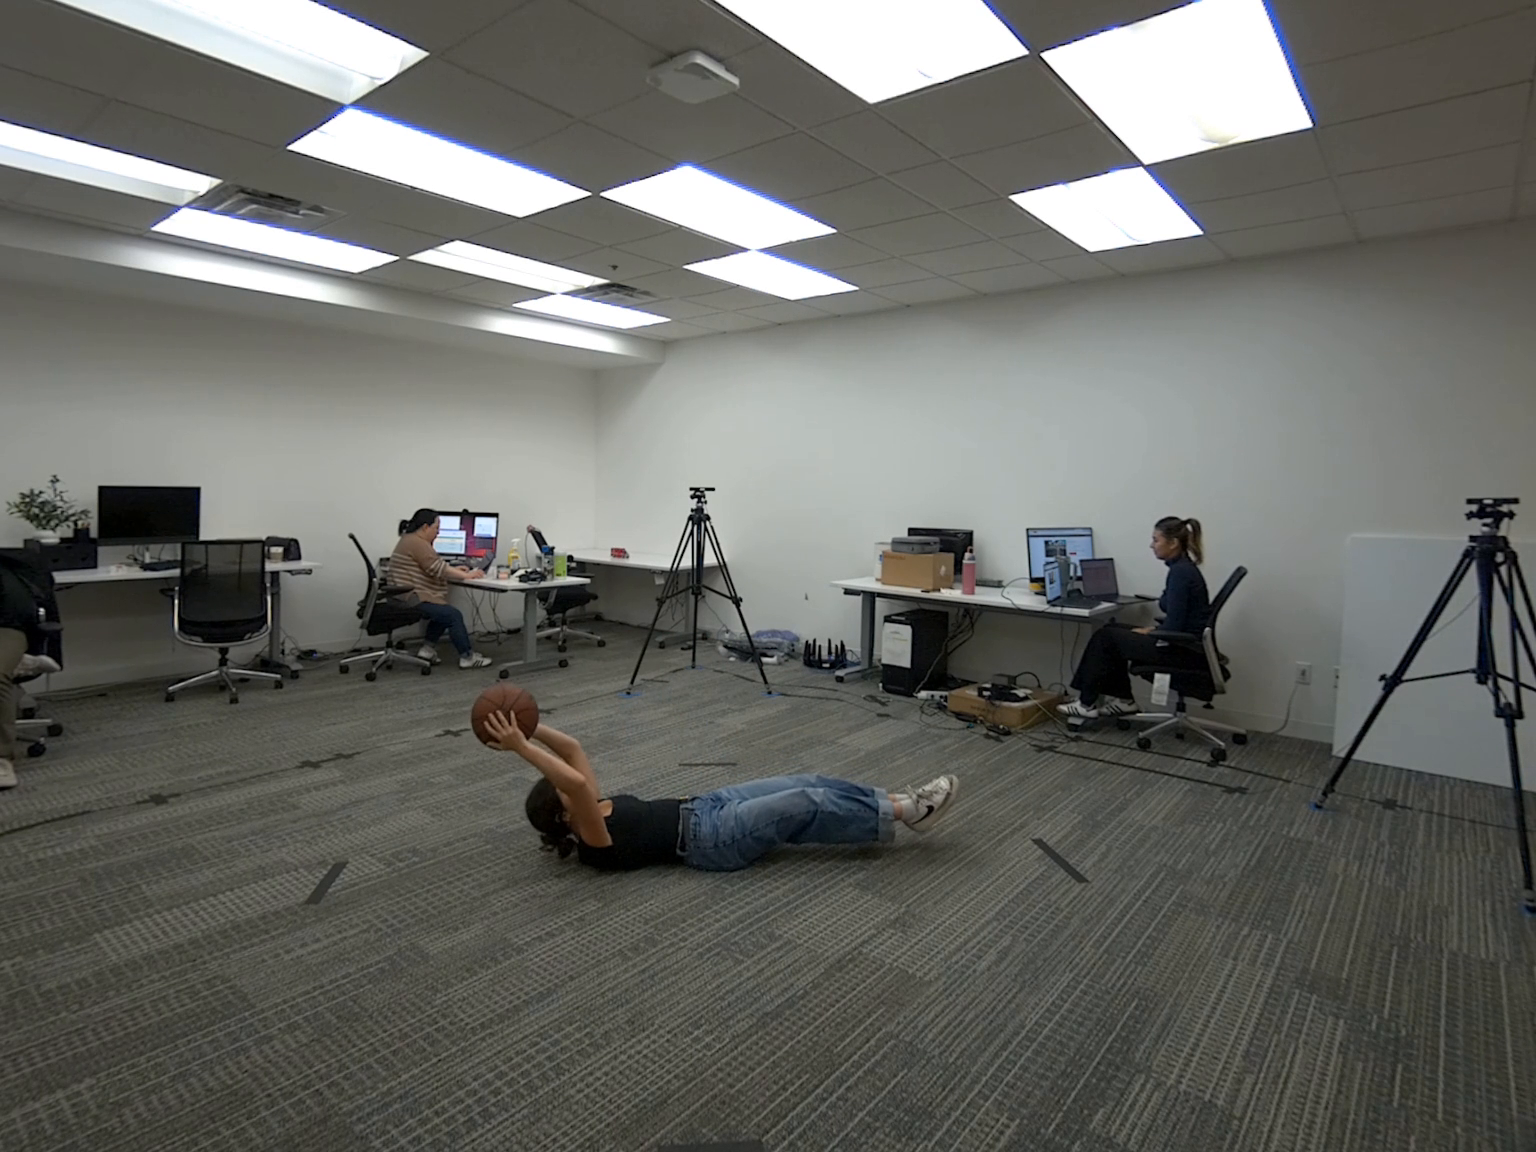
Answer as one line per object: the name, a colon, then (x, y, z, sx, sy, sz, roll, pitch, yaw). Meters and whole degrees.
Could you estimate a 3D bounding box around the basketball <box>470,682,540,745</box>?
basketball: (-0.956, 0.501, 3.068, 0.235, 0.235, 0.237, 1, 4, -2)
